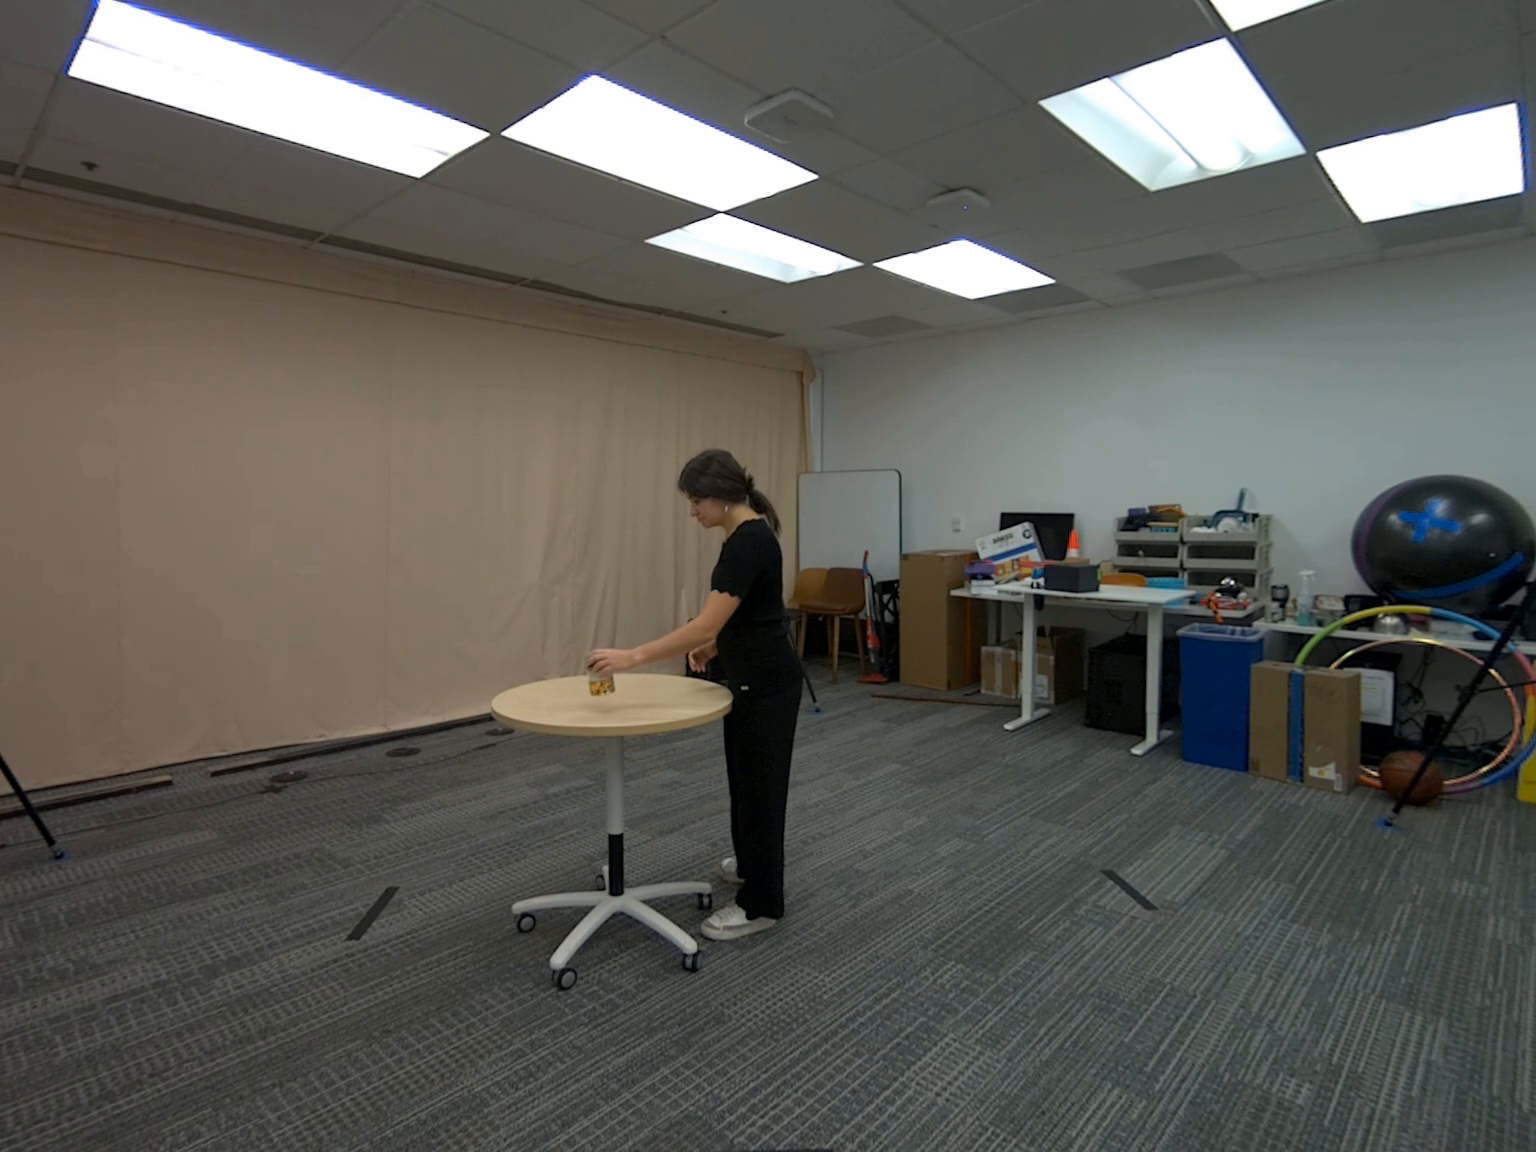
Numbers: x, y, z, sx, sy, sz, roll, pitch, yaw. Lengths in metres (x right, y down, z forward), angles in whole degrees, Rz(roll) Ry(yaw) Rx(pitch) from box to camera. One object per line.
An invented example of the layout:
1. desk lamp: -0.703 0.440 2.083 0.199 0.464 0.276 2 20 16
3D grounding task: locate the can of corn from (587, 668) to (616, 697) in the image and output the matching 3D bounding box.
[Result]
1. can of corn: -0.495 0.294 2.495 0.074 0.111 0.074 -6 1 -2
